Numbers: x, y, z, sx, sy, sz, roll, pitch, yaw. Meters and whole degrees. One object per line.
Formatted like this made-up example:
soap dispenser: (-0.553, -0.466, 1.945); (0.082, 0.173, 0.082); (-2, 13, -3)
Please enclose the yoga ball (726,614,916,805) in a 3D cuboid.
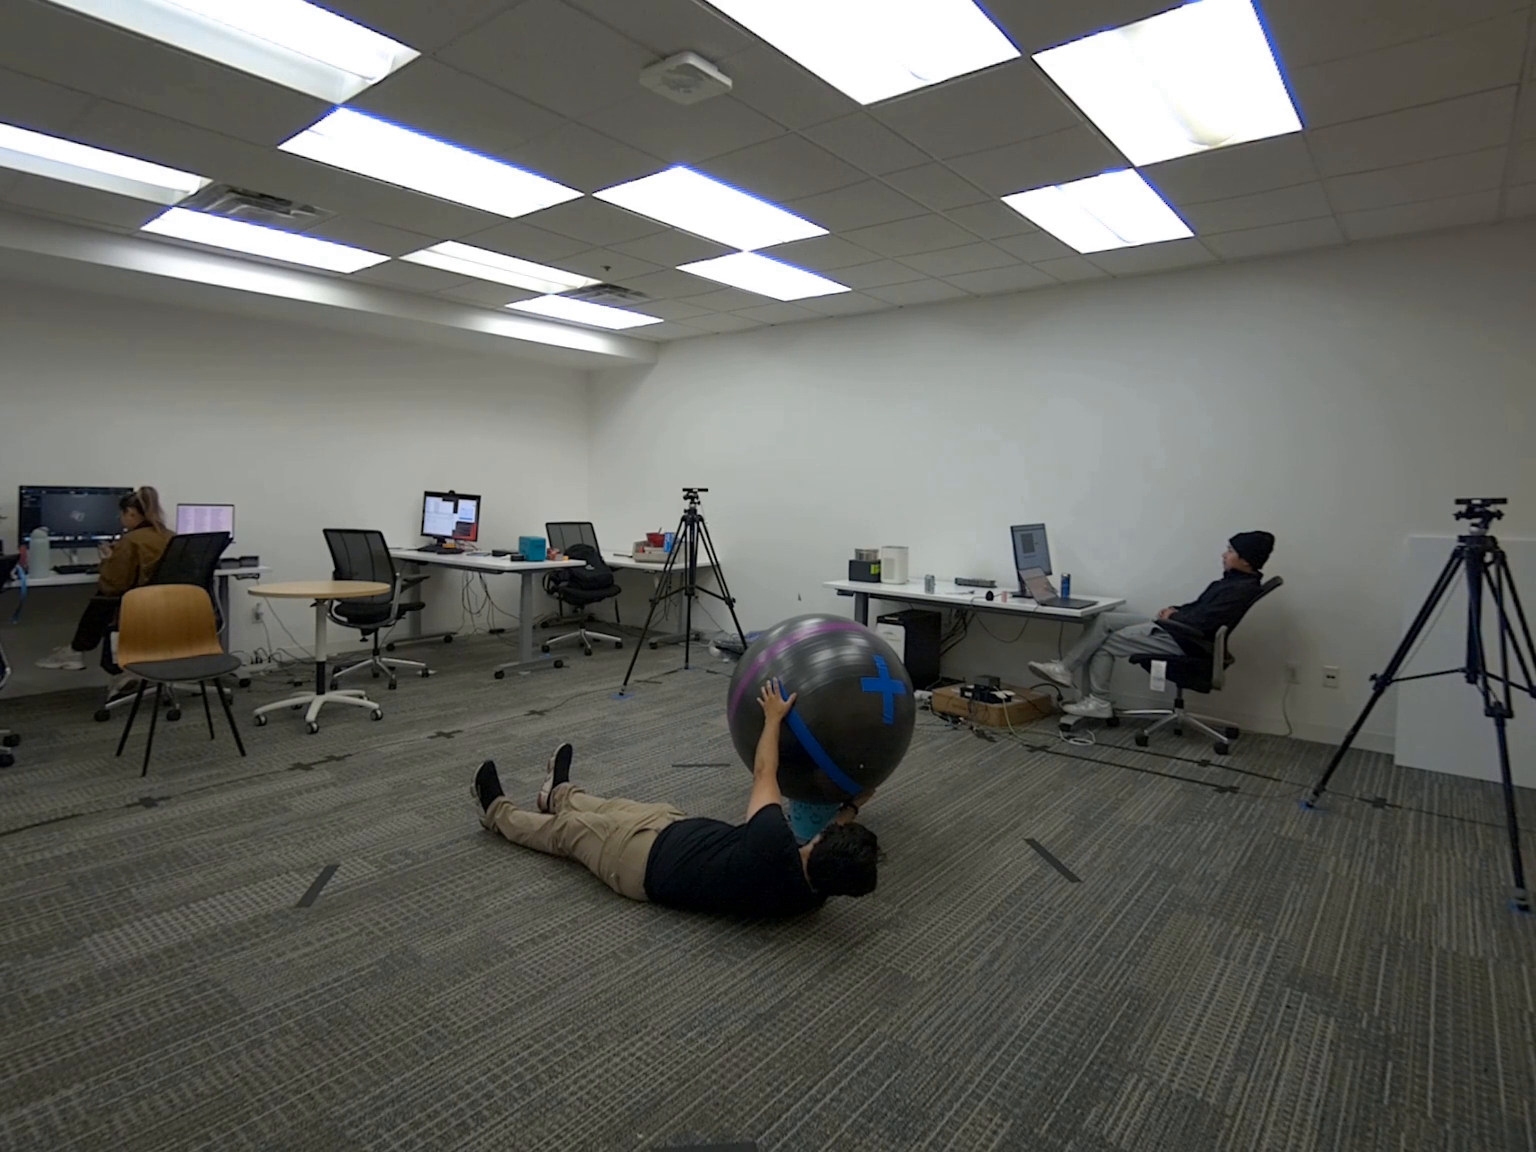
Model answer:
yoga ball: (0.204, 0.534, 3.459); (0.757, 0.756, 0.761); (0, 4, -2)
